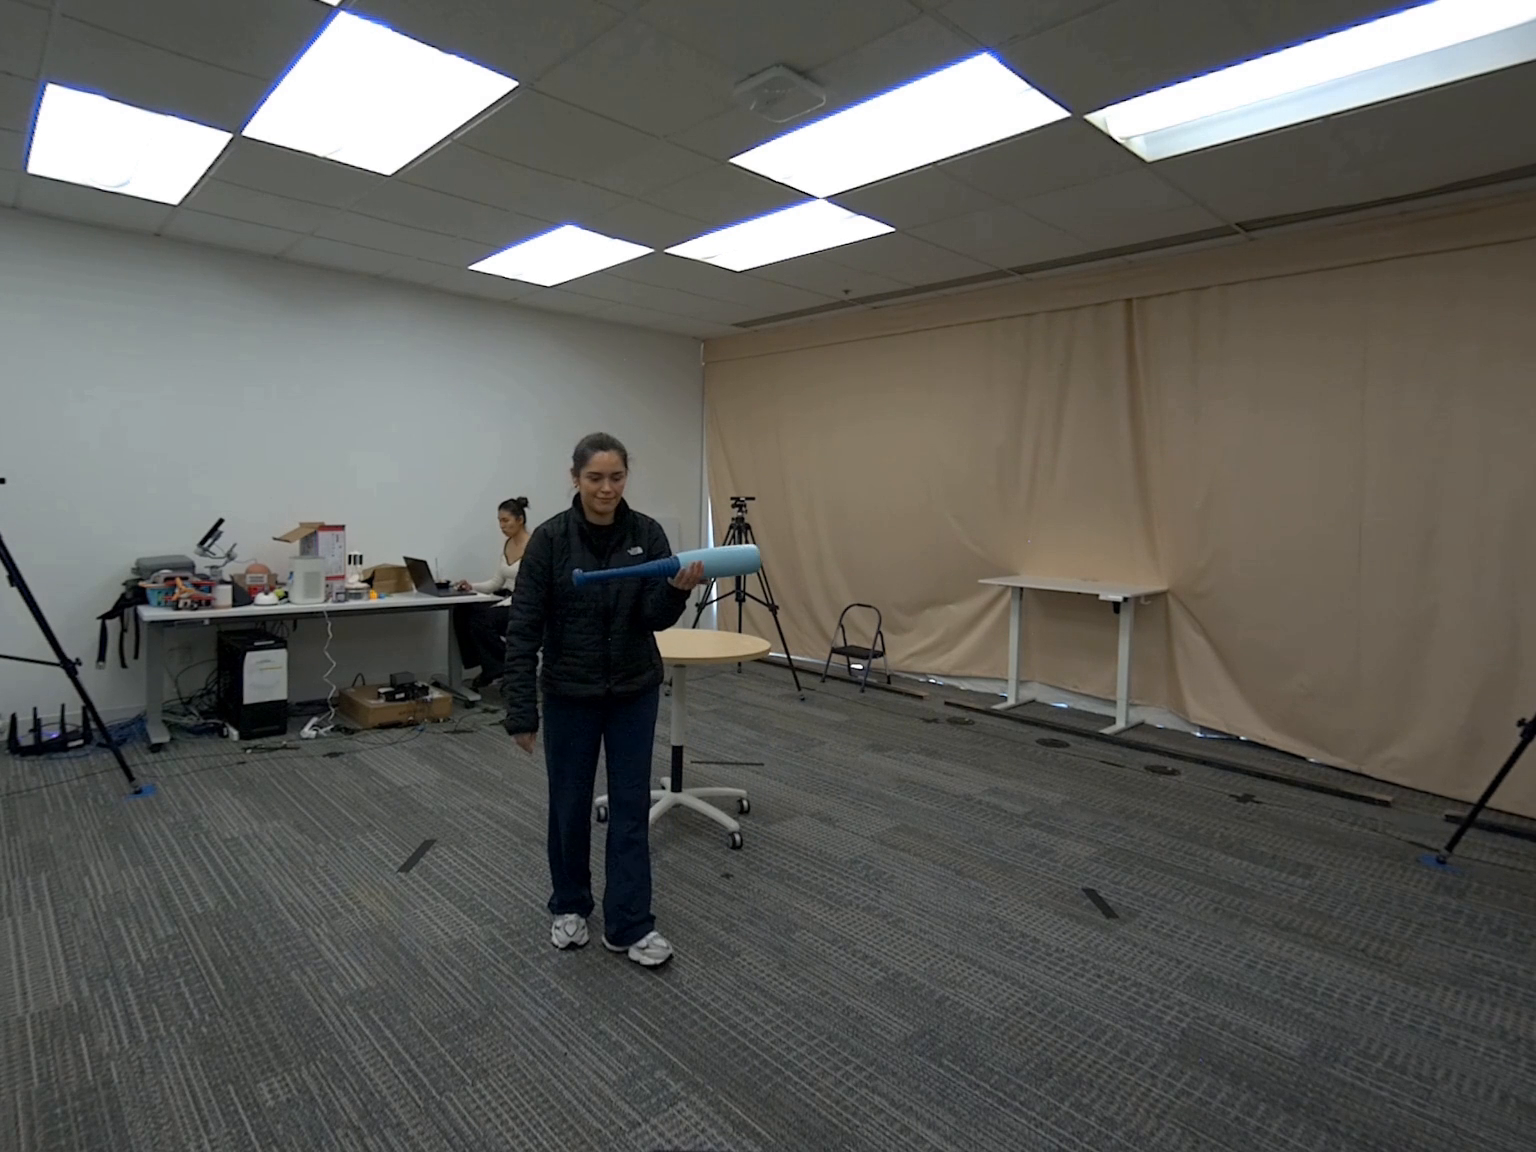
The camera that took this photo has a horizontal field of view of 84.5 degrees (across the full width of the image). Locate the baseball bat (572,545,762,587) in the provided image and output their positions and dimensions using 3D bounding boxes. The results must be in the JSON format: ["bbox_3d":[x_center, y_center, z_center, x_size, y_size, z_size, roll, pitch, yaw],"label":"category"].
[{"bbox_3d":[-0.302,-0.022,2.344,0.536,0.089,0.090,-6,6,-17],"label":"baseball bat"}]
